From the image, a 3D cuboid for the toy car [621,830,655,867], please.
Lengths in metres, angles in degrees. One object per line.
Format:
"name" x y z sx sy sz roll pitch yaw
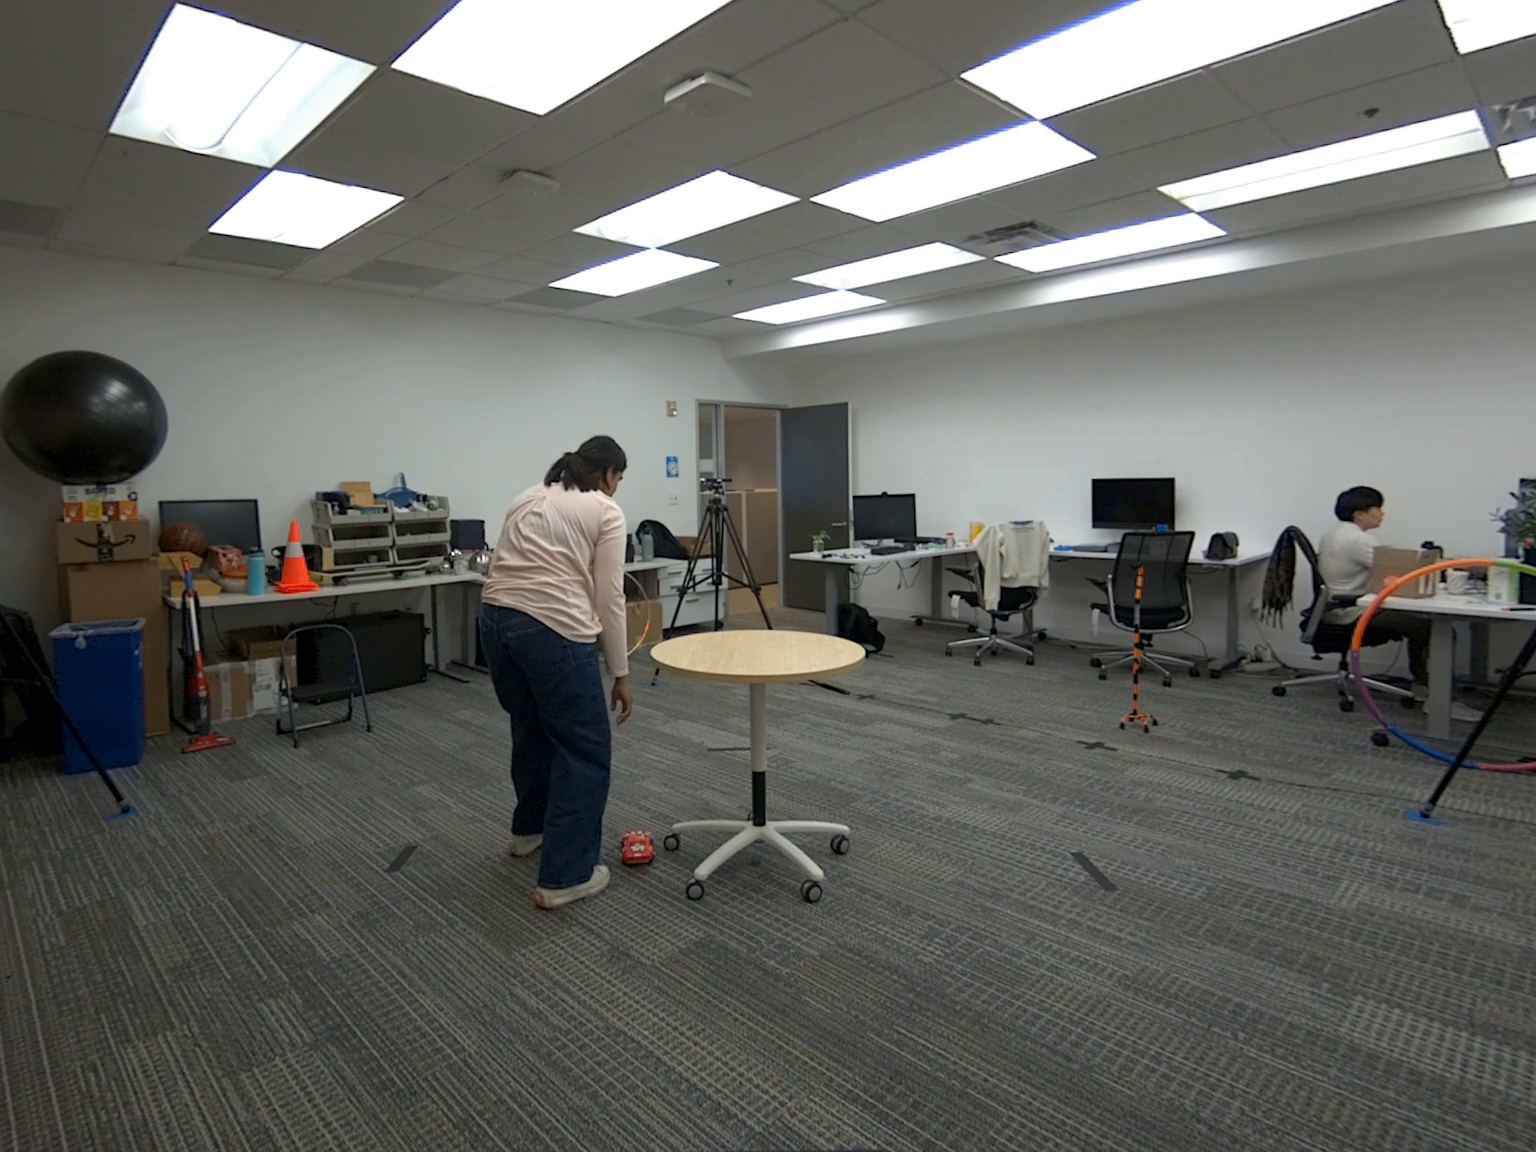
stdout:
"toy car" -0.482 1.005 3.167 0.129 0.084 0.255 -3 -4 -10
